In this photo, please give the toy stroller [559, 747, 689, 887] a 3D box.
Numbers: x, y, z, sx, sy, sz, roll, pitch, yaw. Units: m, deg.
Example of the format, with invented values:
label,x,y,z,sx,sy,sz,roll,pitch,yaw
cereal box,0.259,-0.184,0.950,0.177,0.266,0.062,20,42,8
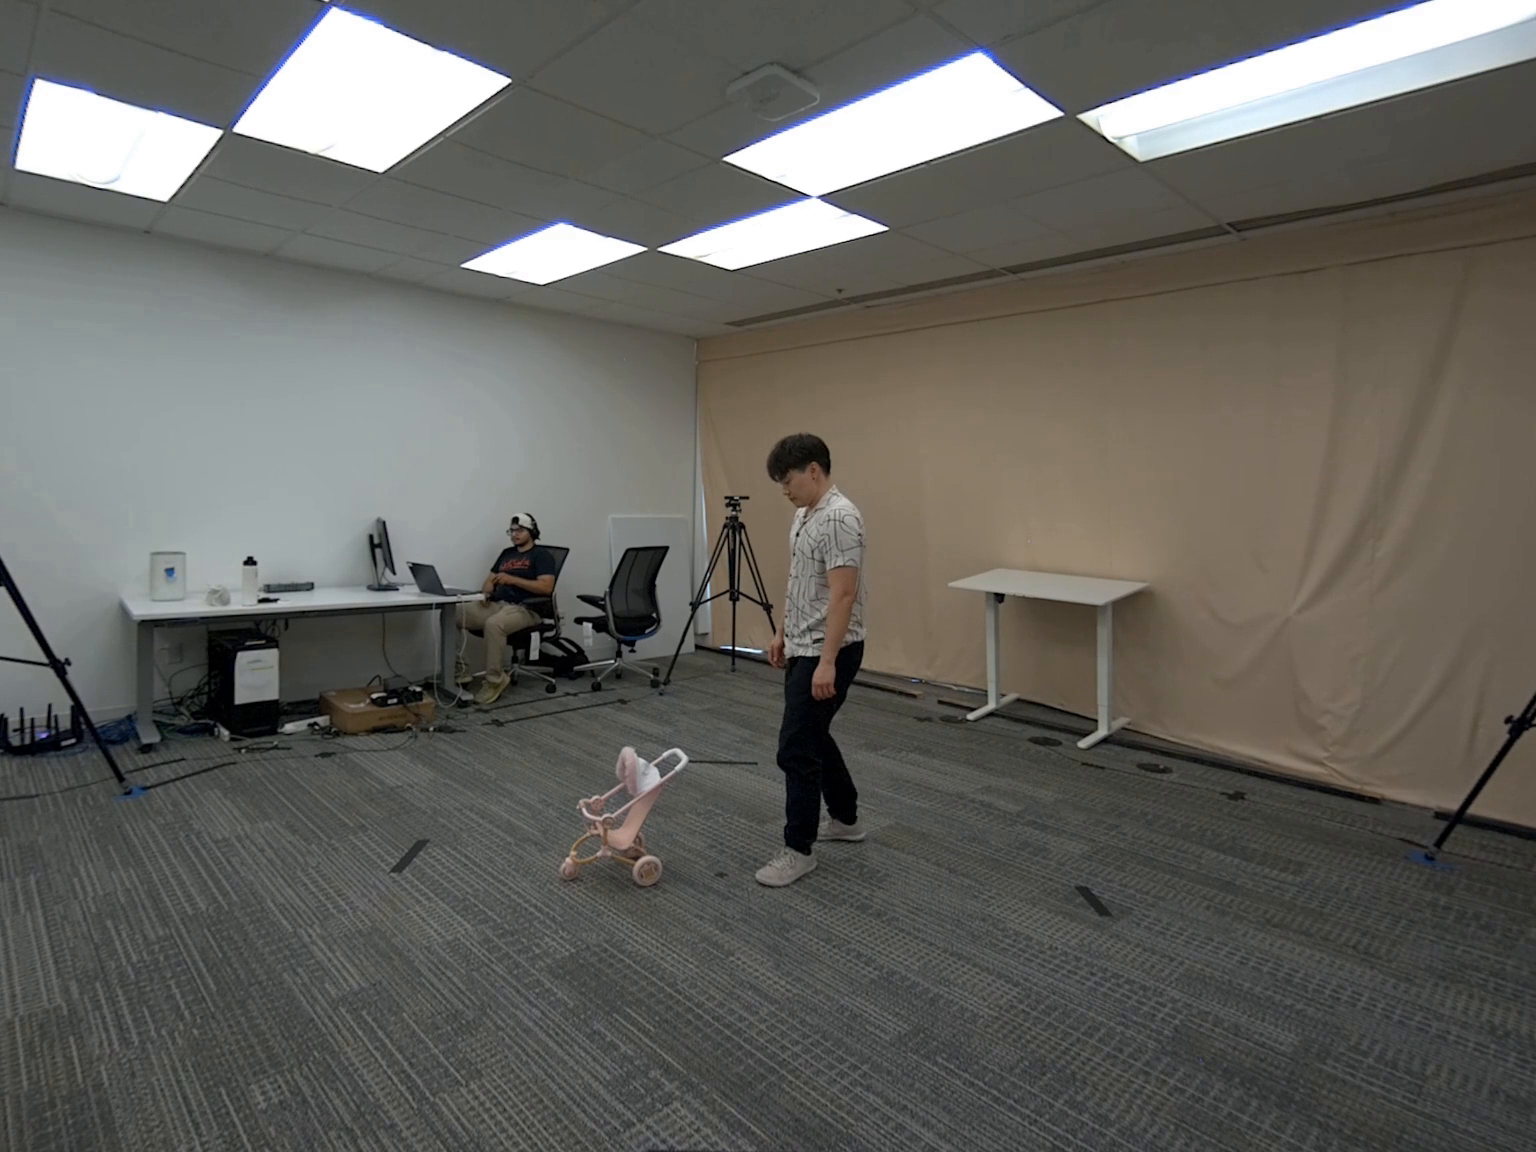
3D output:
label,x,y,z,sx,sy,sz,roll,pitch,yaw
toy stroller,-0.540,0.871,3.082,0.336,0.535,0.286,17,-1,-18
